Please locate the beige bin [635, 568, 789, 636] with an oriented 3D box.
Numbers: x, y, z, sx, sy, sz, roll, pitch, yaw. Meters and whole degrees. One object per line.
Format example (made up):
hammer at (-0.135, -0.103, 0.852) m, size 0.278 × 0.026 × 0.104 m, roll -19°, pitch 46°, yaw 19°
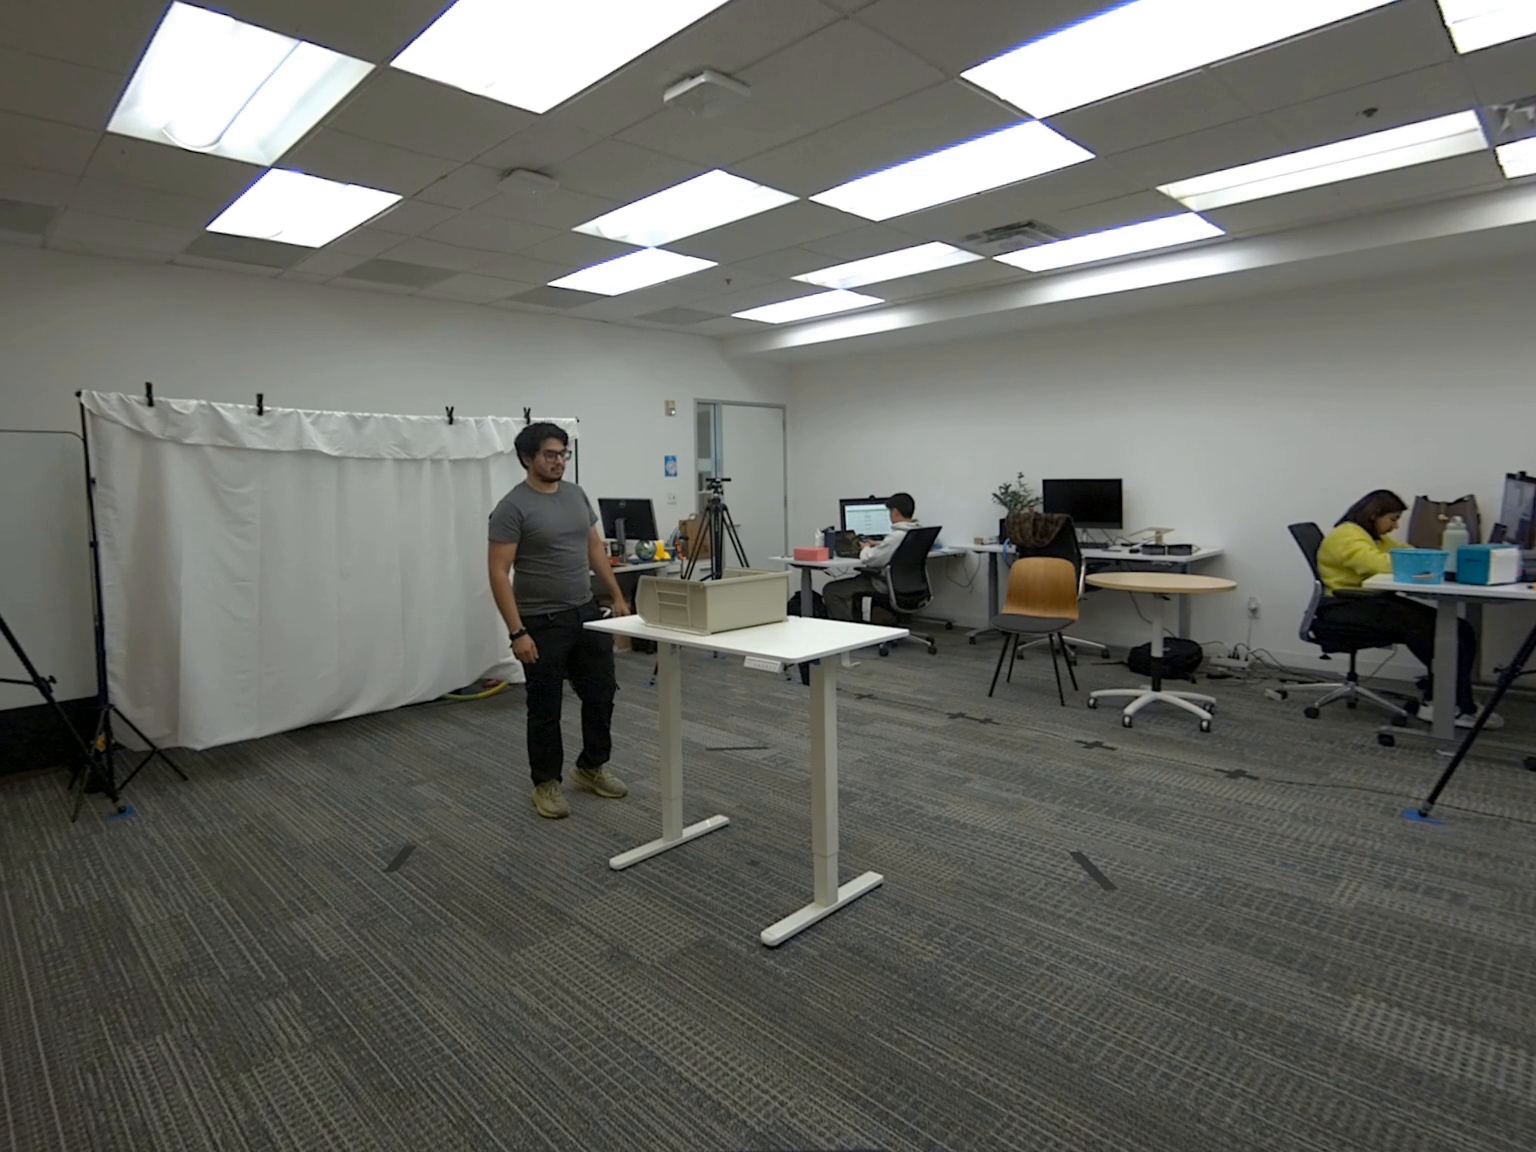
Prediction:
beige bin at (-0.195, 0.082, 3.045) m, size 0.411 × 0.188 × 0.389 m, roll -6°, pitch 8°, yaw -44°
